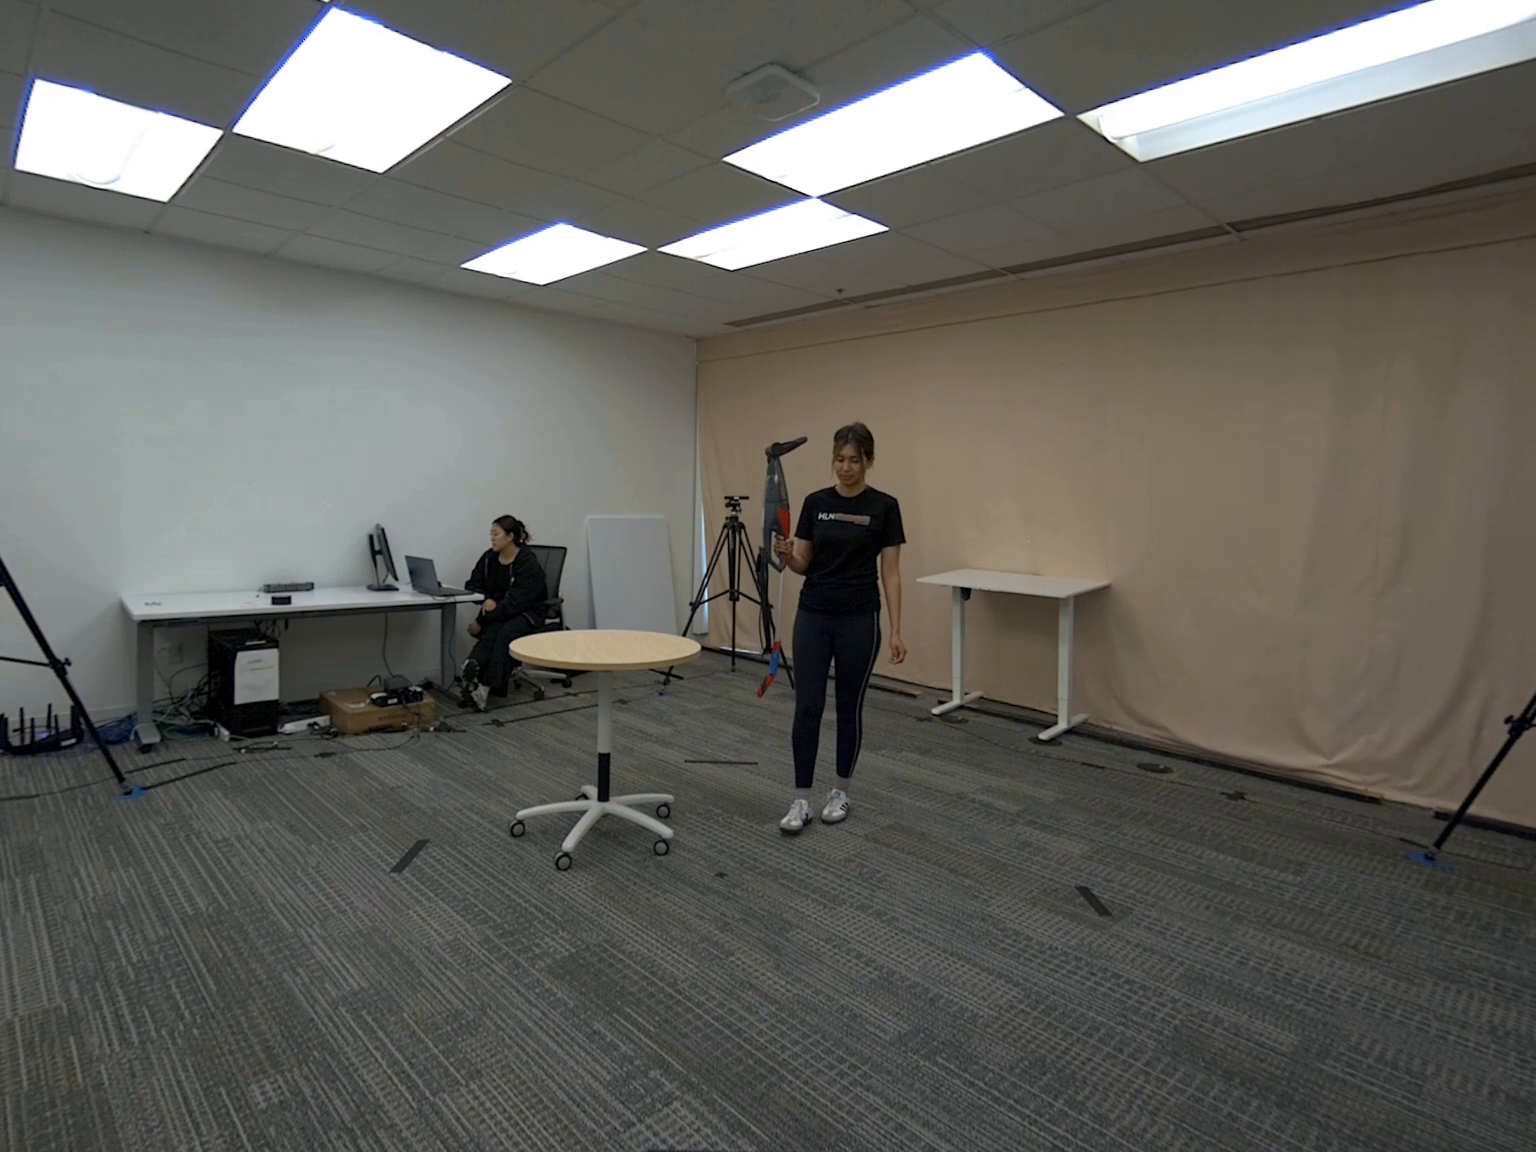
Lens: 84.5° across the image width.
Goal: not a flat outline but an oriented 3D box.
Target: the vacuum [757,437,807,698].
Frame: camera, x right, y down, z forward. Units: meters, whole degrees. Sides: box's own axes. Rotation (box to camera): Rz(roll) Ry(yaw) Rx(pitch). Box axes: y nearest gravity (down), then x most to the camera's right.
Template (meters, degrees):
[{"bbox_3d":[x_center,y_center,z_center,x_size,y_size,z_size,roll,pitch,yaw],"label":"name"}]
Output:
[{"bbox_3d":[0.007,-0.030,3.478,0.143,1.050,0.254,6,-1,-9],"label":"vacuum"}]
